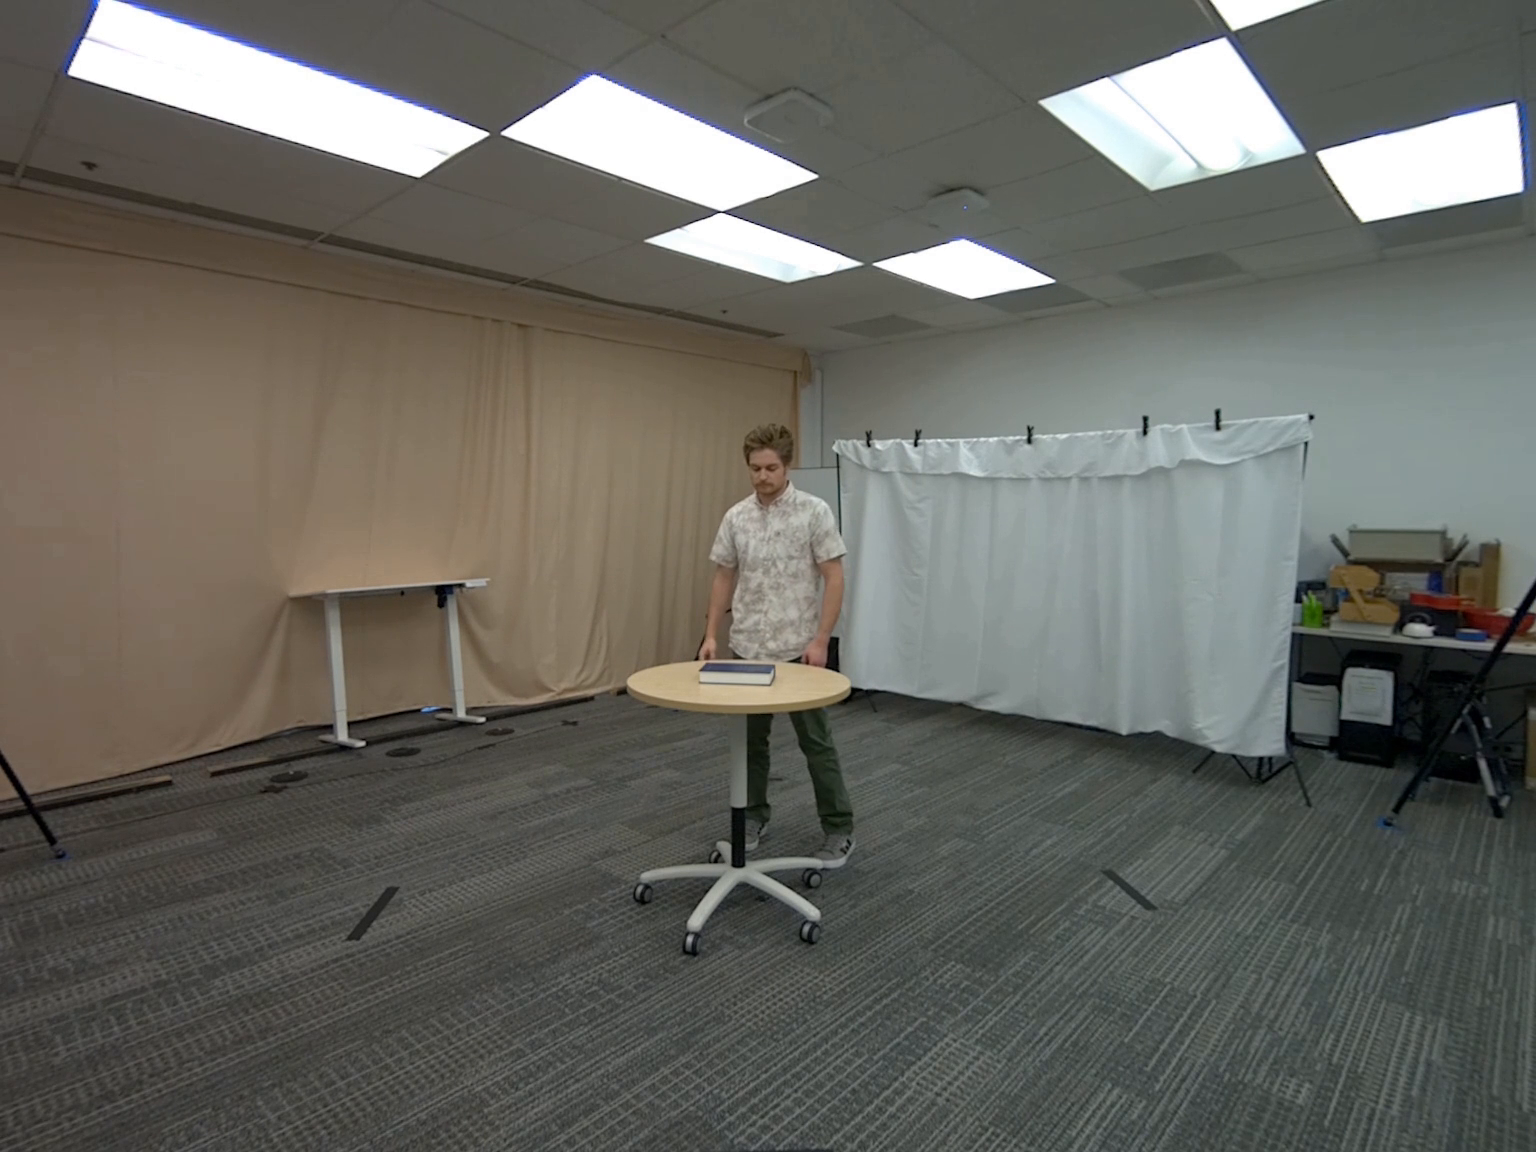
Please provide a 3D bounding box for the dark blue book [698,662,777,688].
[{"bbox_3d":[-0.103,0.335,2.895,0.247,0.045,0.162,1,5,8],"label":"dark blue book"}]
